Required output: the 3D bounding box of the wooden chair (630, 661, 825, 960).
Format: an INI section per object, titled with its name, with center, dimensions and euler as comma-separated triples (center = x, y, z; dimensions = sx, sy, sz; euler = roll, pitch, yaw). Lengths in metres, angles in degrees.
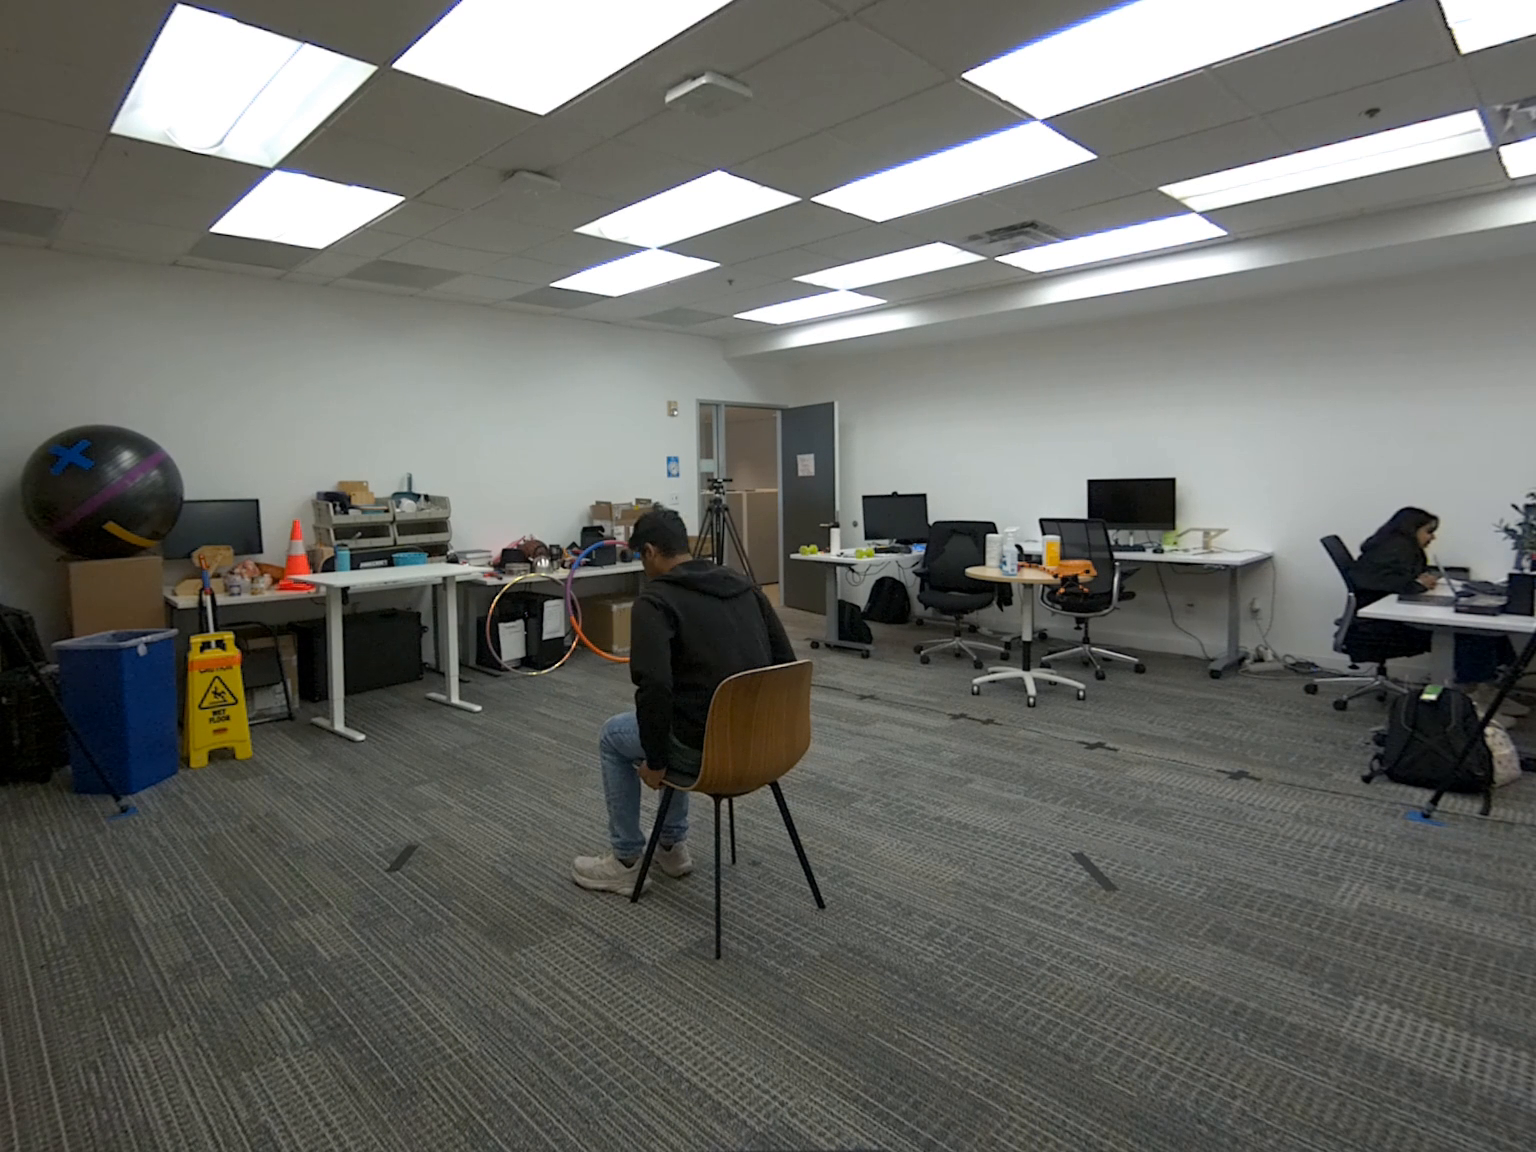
[wooden chair]
center = -0.145, 0.656, 2.780
dimensions = 0.466, 0.871, 0.540
euler = -6, 10, -41
